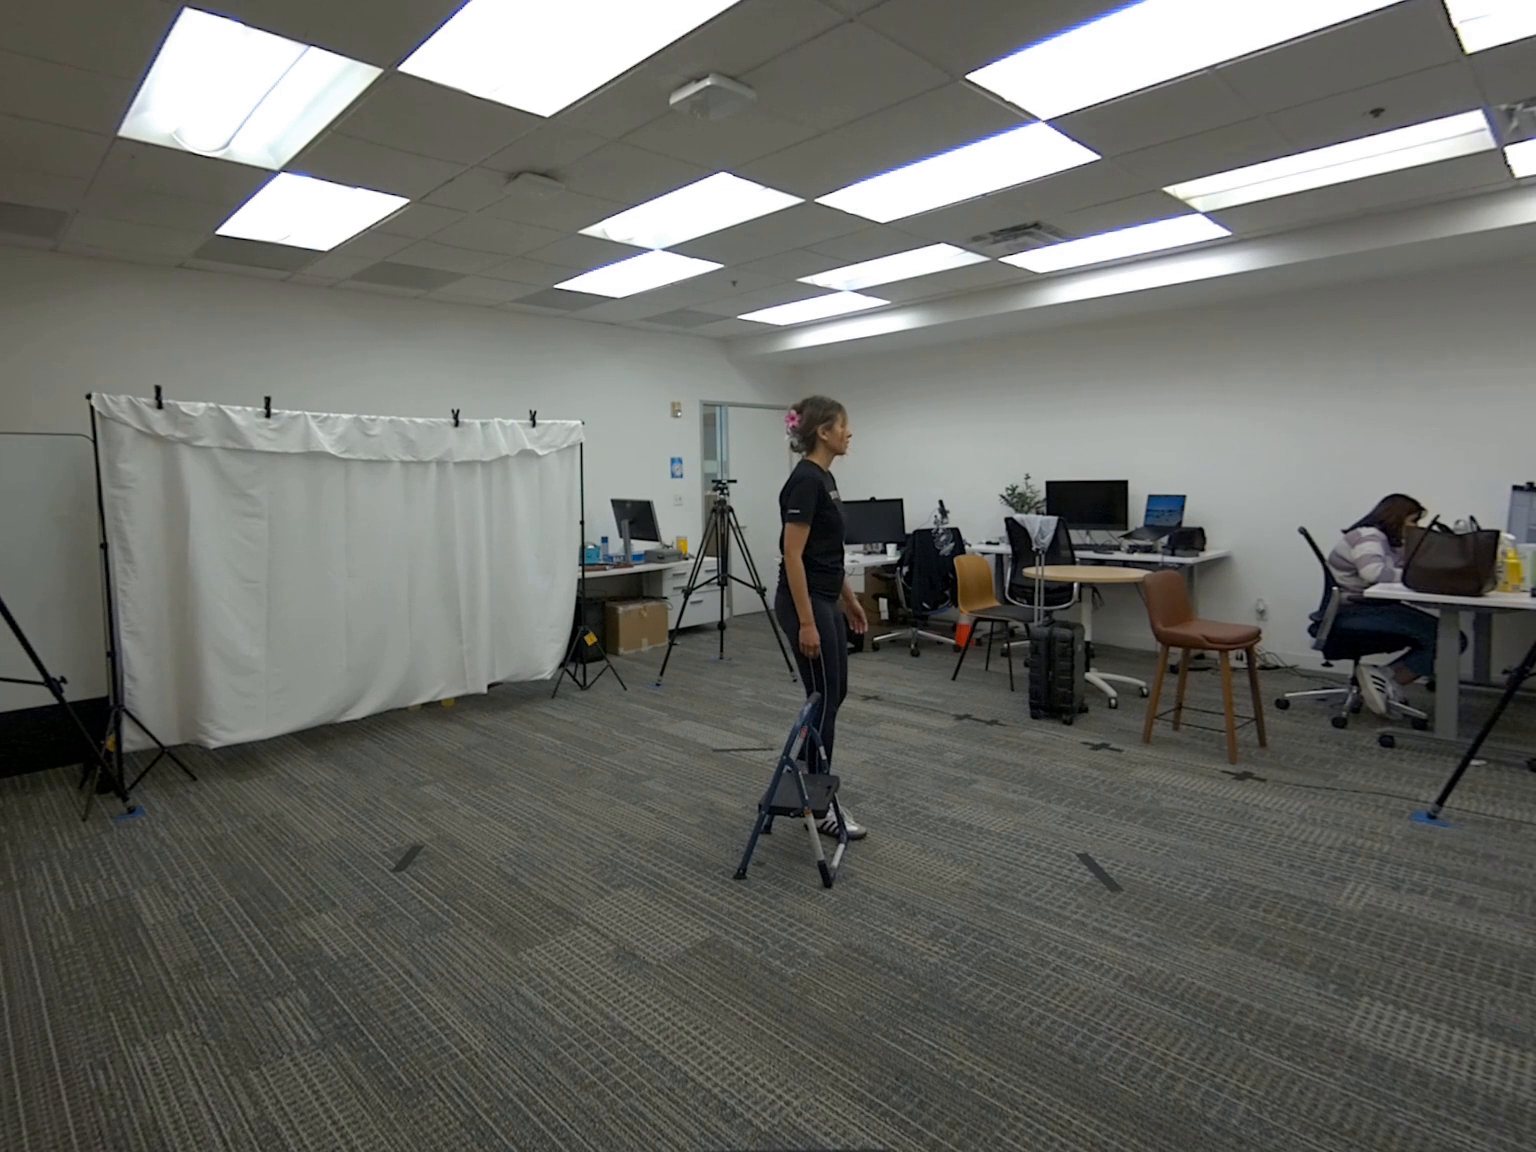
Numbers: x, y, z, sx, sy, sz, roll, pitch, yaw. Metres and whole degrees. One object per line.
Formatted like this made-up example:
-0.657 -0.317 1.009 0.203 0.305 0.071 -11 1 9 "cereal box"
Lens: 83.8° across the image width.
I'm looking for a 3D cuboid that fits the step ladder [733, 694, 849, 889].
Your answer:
0.093 0.741 3.129 0.354 0.604 0.426 0 4 14 "step ladder"
